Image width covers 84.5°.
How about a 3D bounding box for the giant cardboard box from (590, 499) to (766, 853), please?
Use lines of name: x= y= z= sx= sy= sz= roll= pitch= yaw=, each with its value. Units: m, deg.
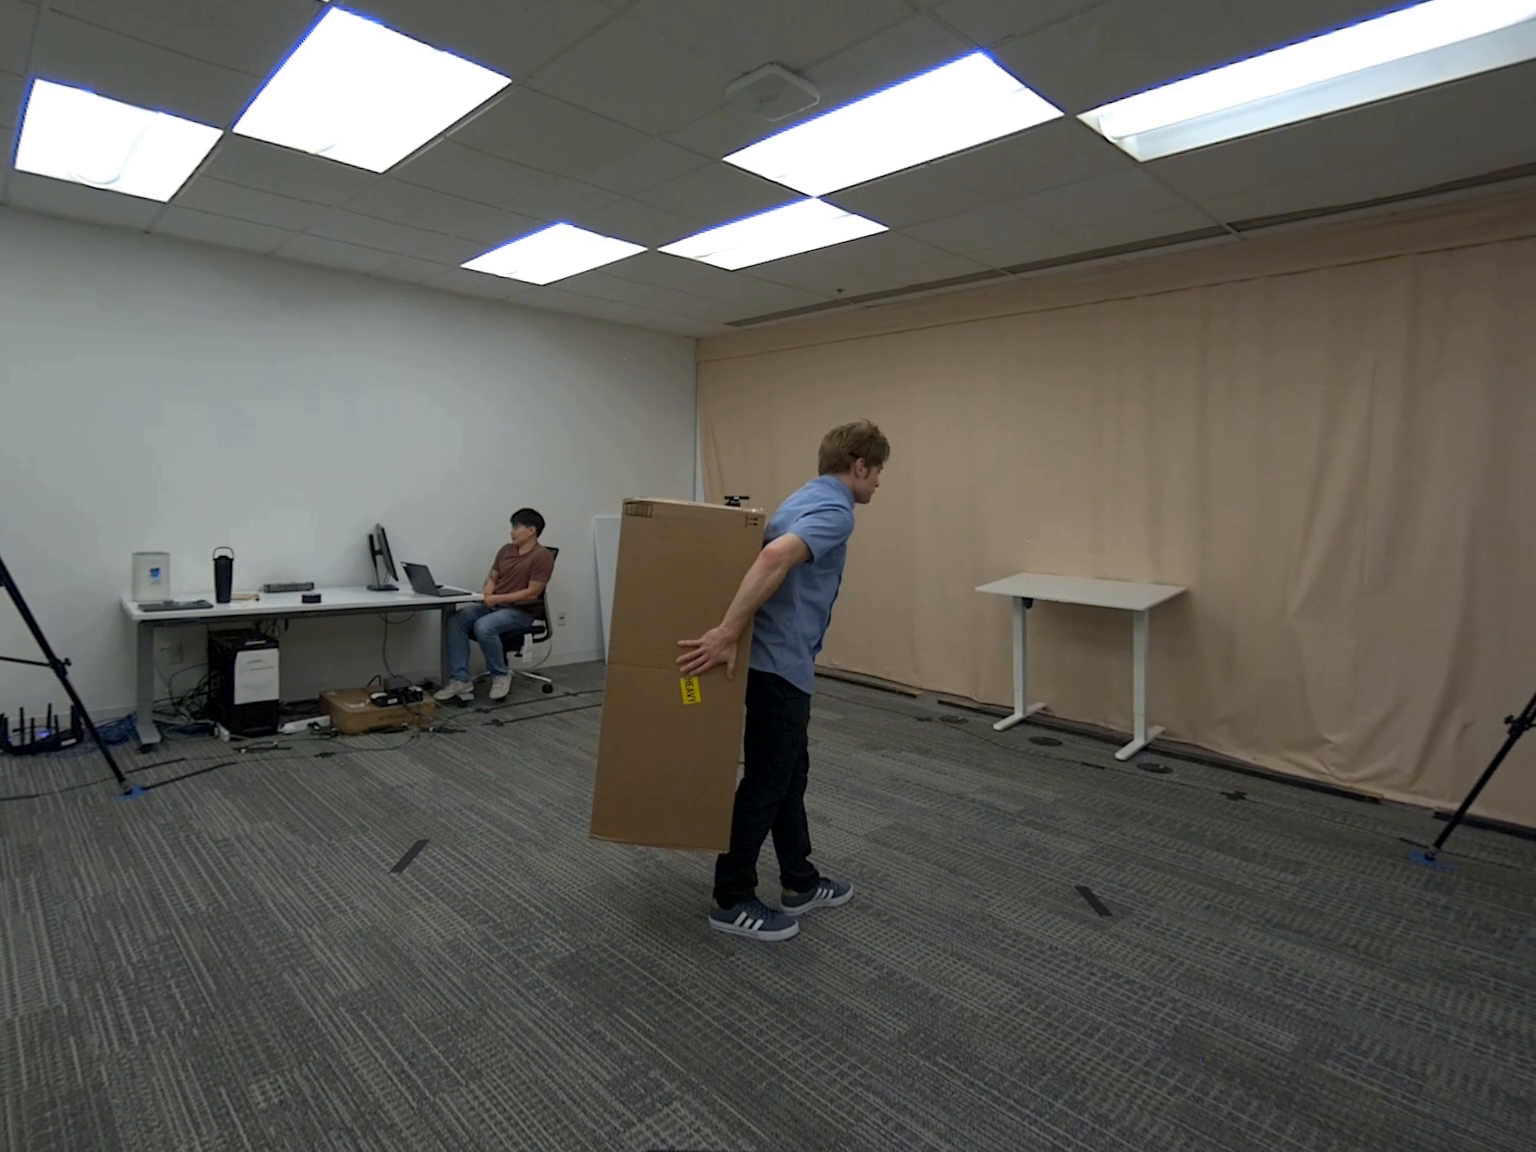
giant cardboard box: x=-0.291 y=0.281 z=2.757 sx=0.446 sy=1.024 sz=0.586 roll=5 pitch=4 yaw=-3
